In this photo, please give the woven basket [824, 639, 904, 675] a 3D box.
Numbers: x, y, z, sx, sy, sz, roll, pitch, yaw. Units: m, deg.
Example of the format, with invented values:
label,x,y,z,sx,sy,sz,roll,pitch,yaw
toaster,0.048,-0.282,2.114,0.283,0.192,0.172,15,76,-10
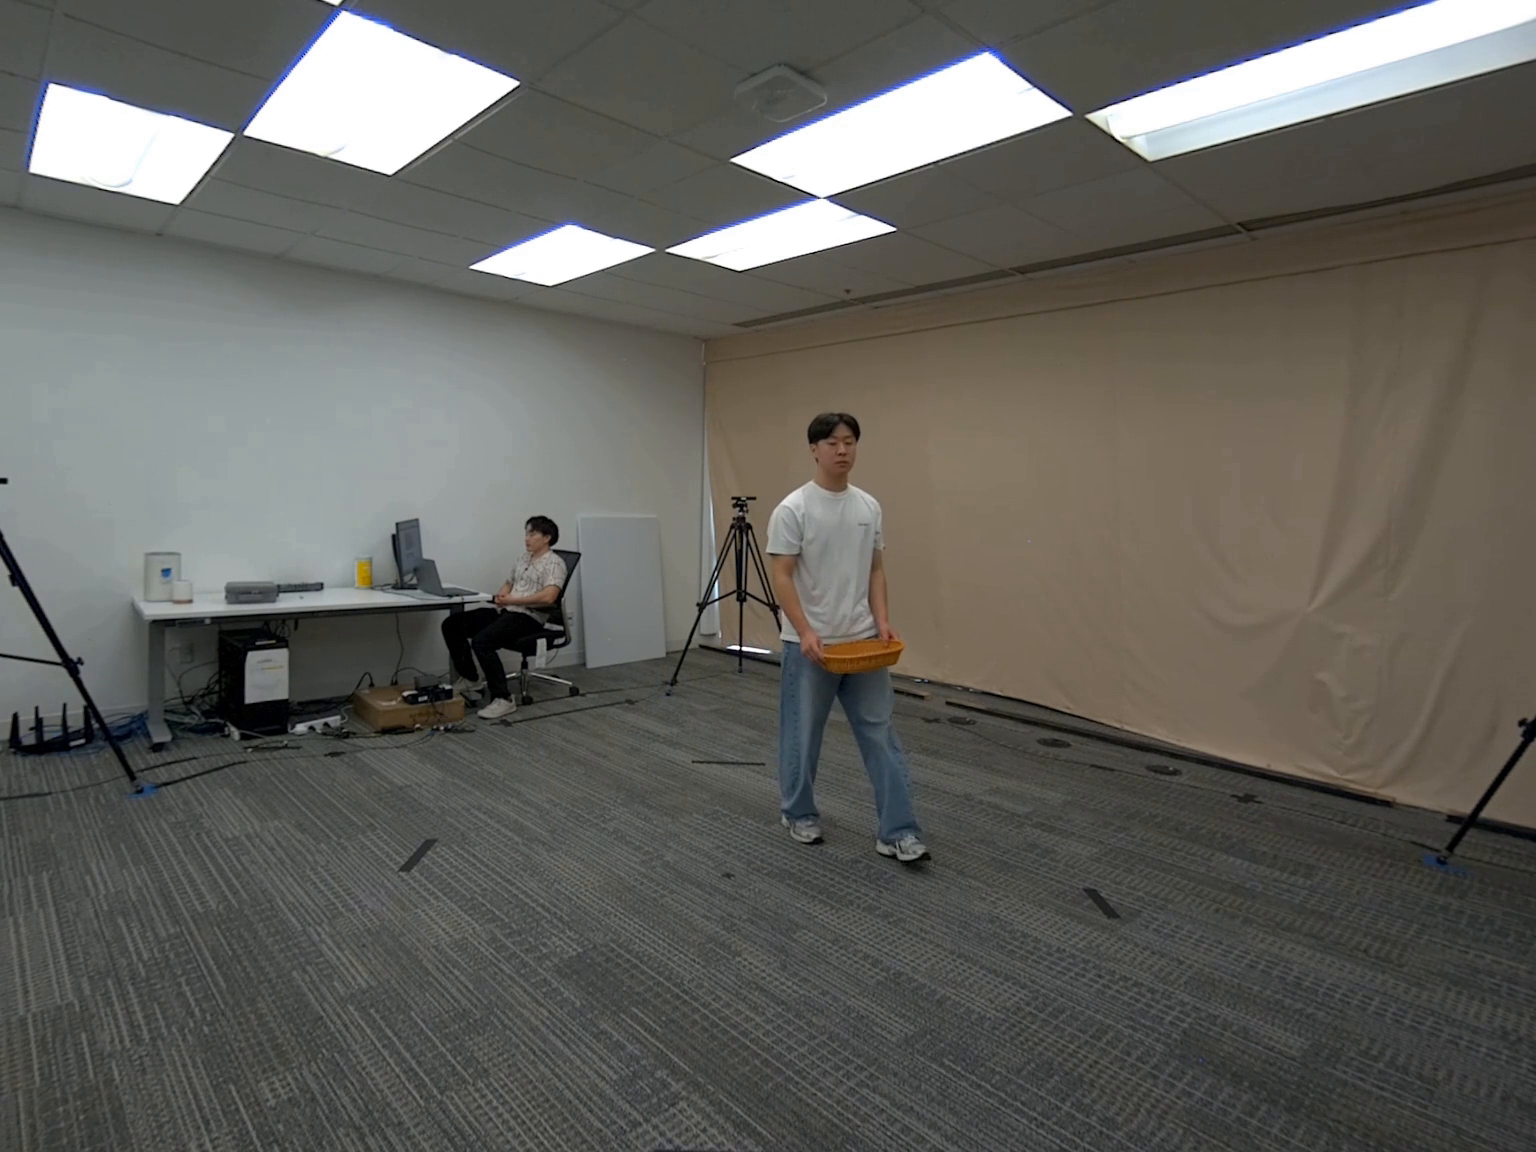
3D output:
label,x,y,z,sx,sy,sz,roll,pitch,yaw
woven basket,0.324,0.301,3.162,0.345,0.073,0.257,-9,7,-25
